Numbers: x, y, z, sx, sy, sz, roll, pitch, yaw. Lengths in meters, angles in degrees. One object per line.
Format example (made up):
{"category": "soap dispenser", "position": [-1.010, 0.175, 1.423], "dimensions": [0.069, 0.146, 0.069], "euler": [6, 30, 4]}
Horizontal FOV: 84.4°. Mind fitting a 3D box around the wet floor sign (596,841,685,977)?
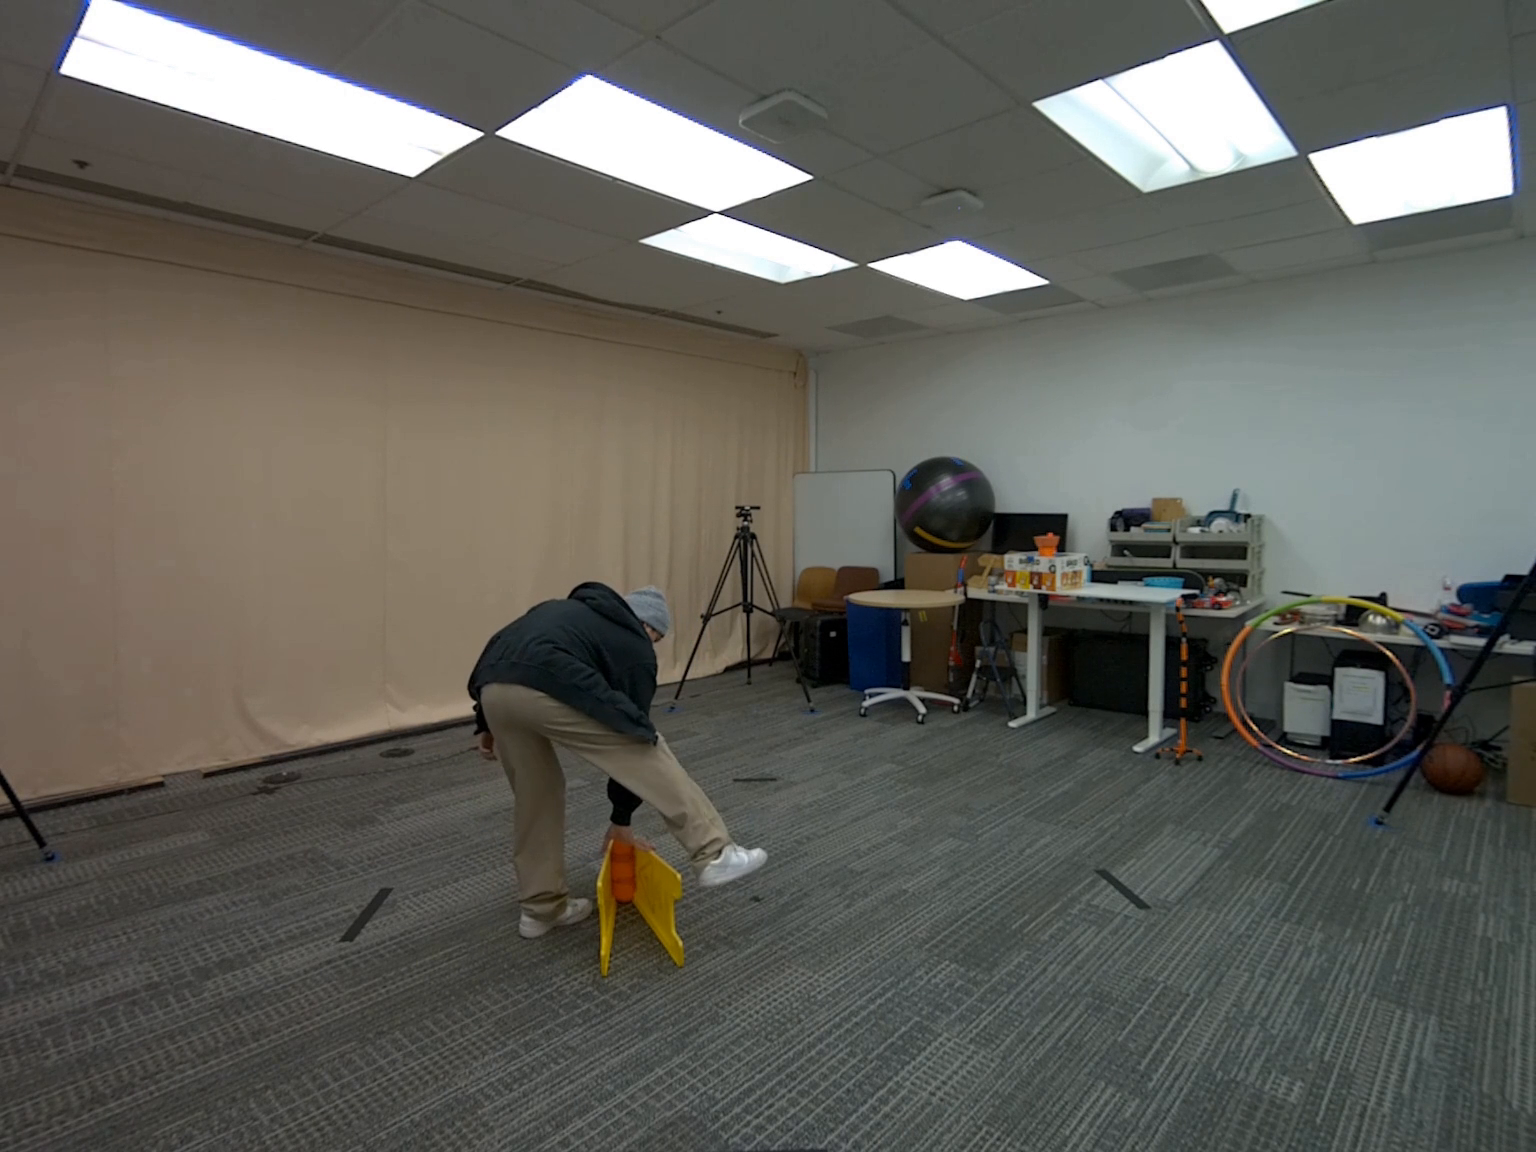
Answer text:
{"category": "wet floor sign", "position": [-0.476, 1.037, 2.822], "dimensions": [0.285, 0.282, 0.656], "euler": [-2, 1, -15]}
